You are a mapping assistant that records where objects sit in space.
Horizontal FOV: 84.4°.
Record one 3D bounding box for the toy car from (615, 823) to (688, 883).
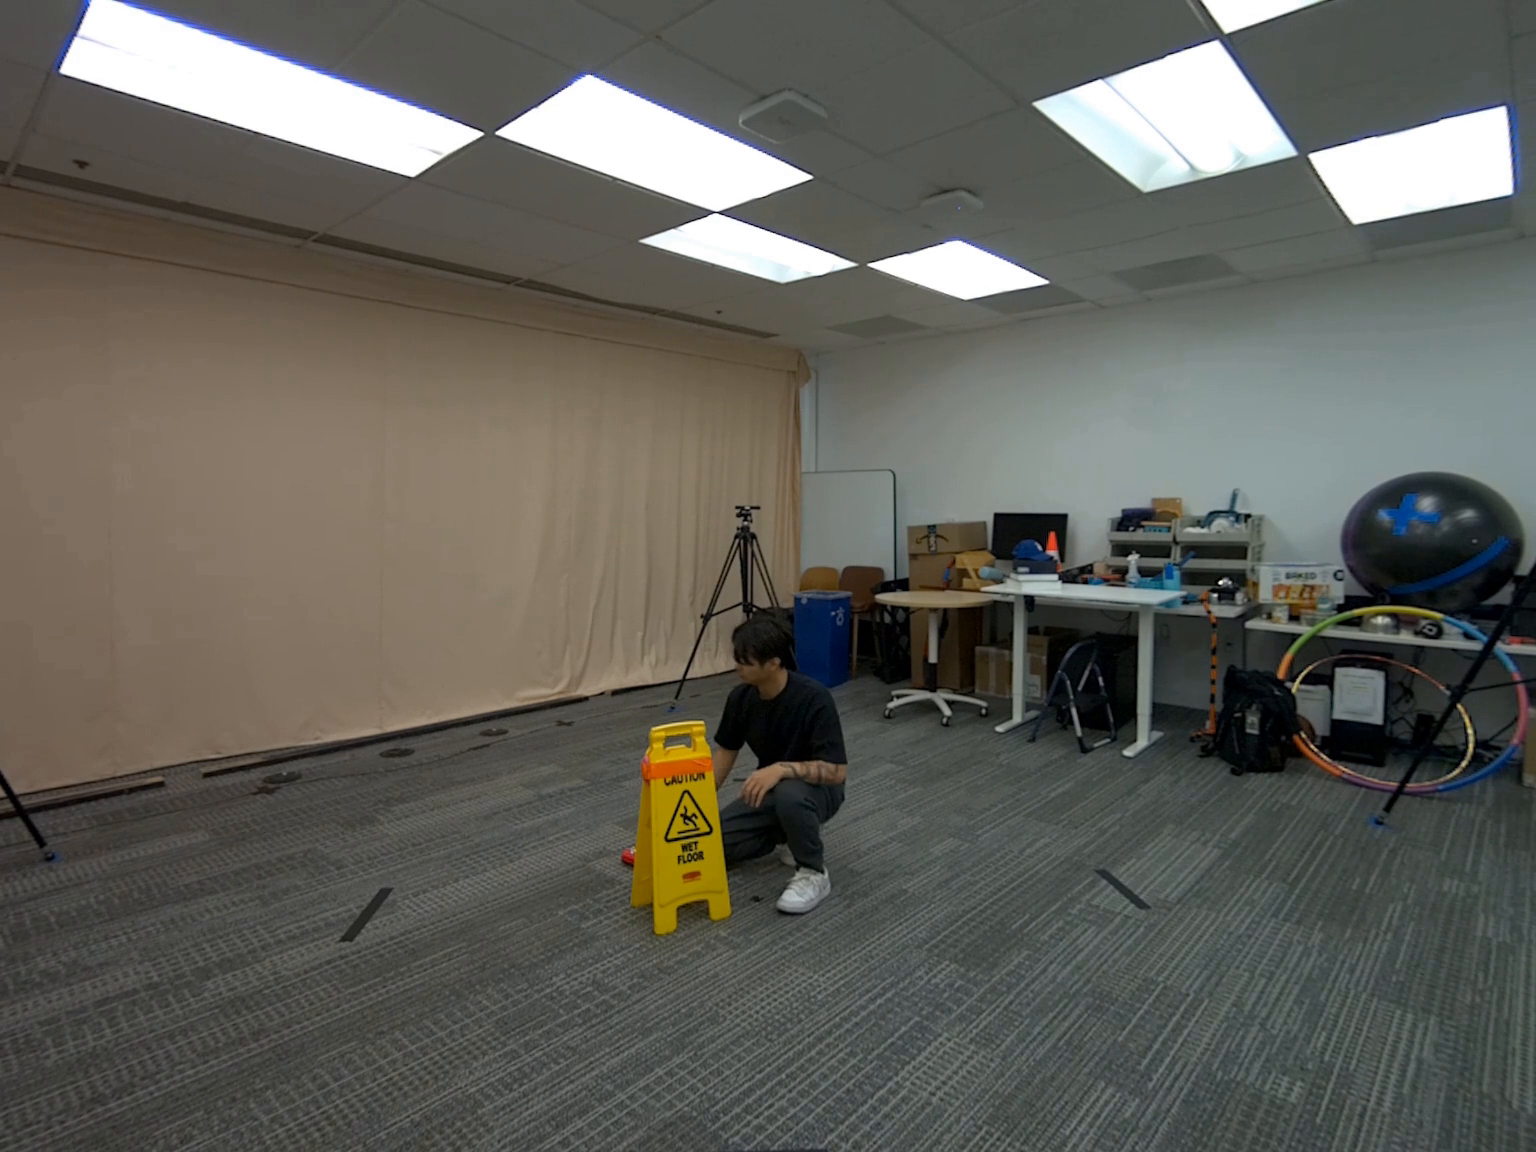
[{"bbox_3d":[-0.459,1.088,3.346,0.134,0.082,0.249,1,16,40],"label":"toy car"}]
